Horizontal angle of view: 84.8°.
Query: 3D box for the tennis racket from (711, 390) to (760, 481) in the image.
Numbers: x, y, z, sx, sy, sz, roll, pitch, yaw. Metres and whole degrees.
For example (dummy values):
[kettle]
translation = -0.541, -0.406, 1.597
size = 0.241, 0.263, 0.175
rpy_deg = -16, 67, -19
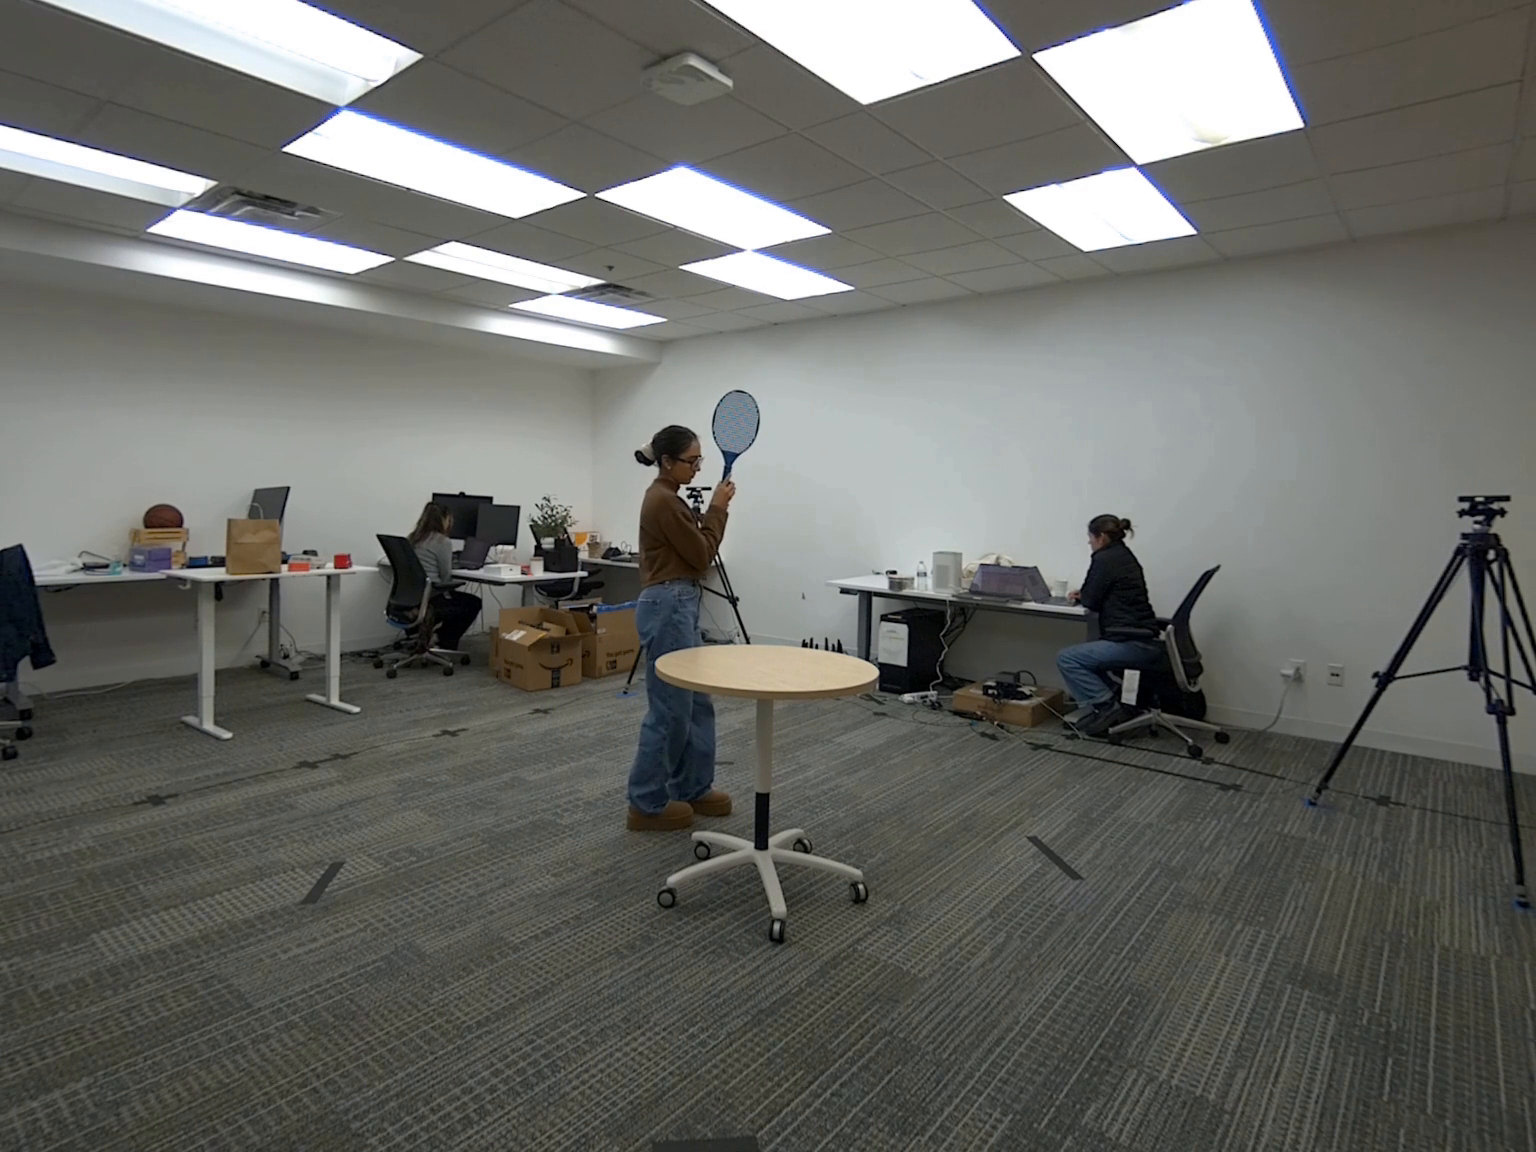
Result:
[tennis racket]
translation = -0.172, -0.552, 3.501
size = 0.220, 0.430, 0.031
rpy_deg = 19, 10, 23
